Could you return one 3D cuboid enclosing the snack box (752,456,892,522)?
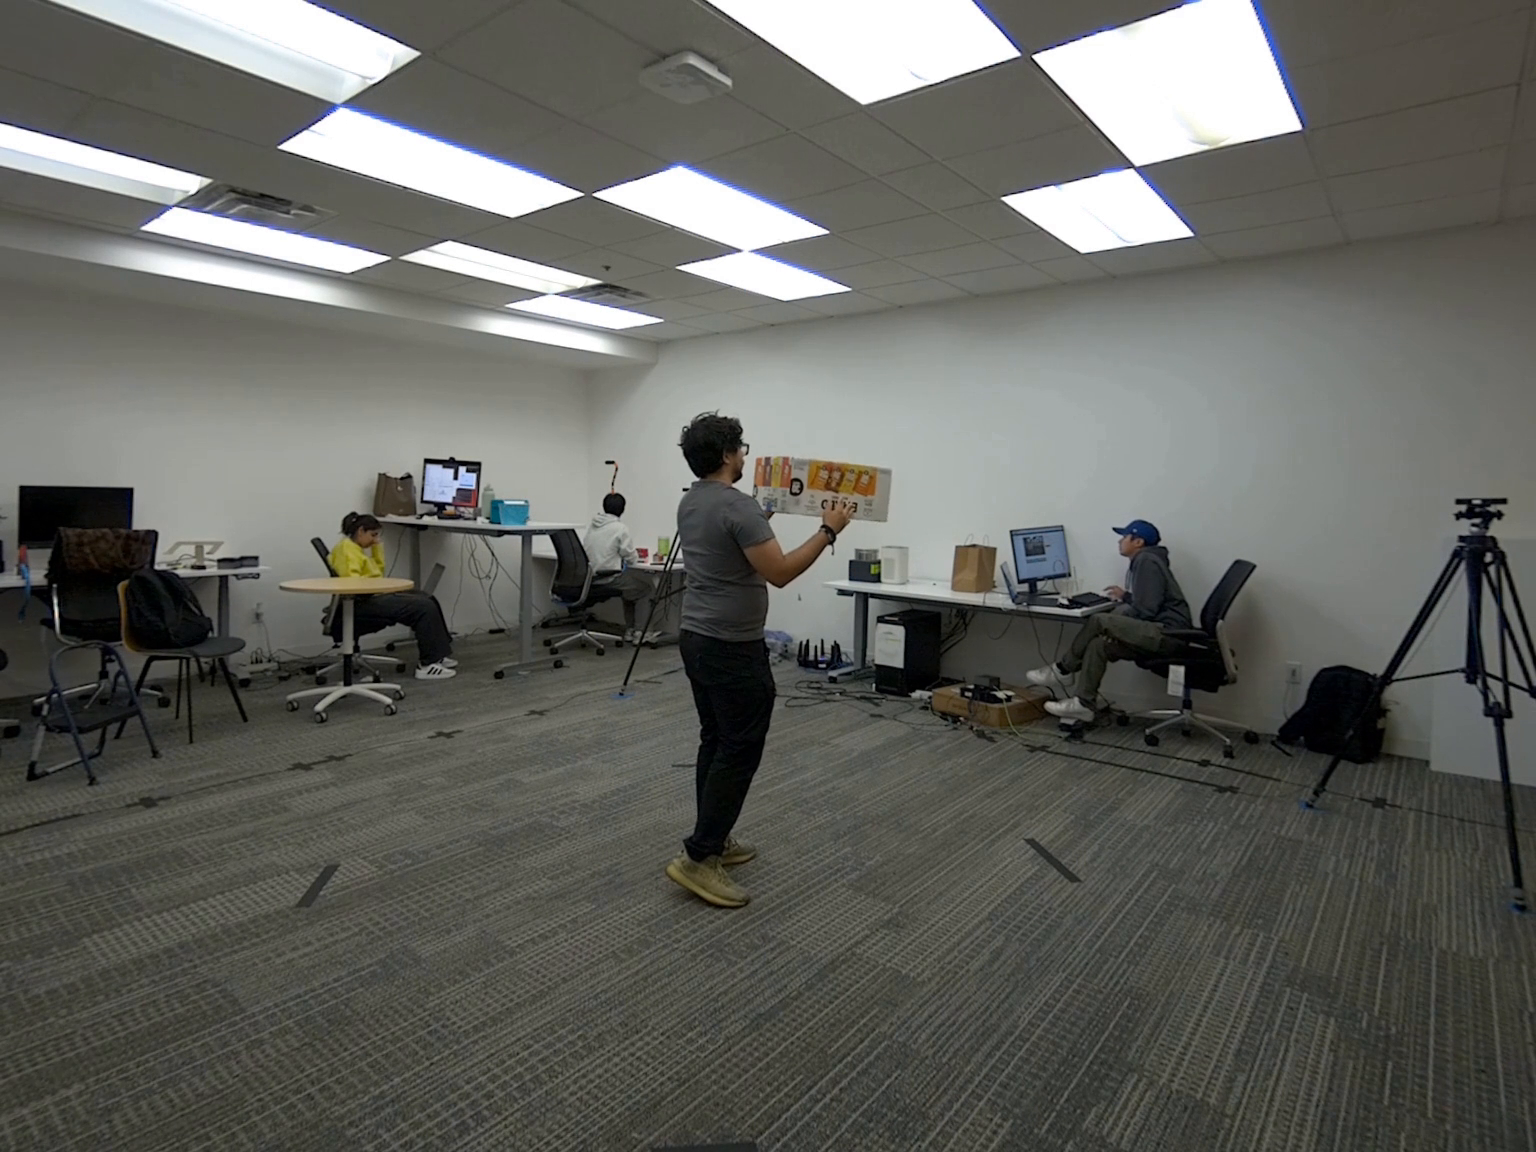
[{"bbox_3d":[0.187,-0.330,3.212,0.396,0.205,0.349,3,6,-21],"label":"snack box"}]
